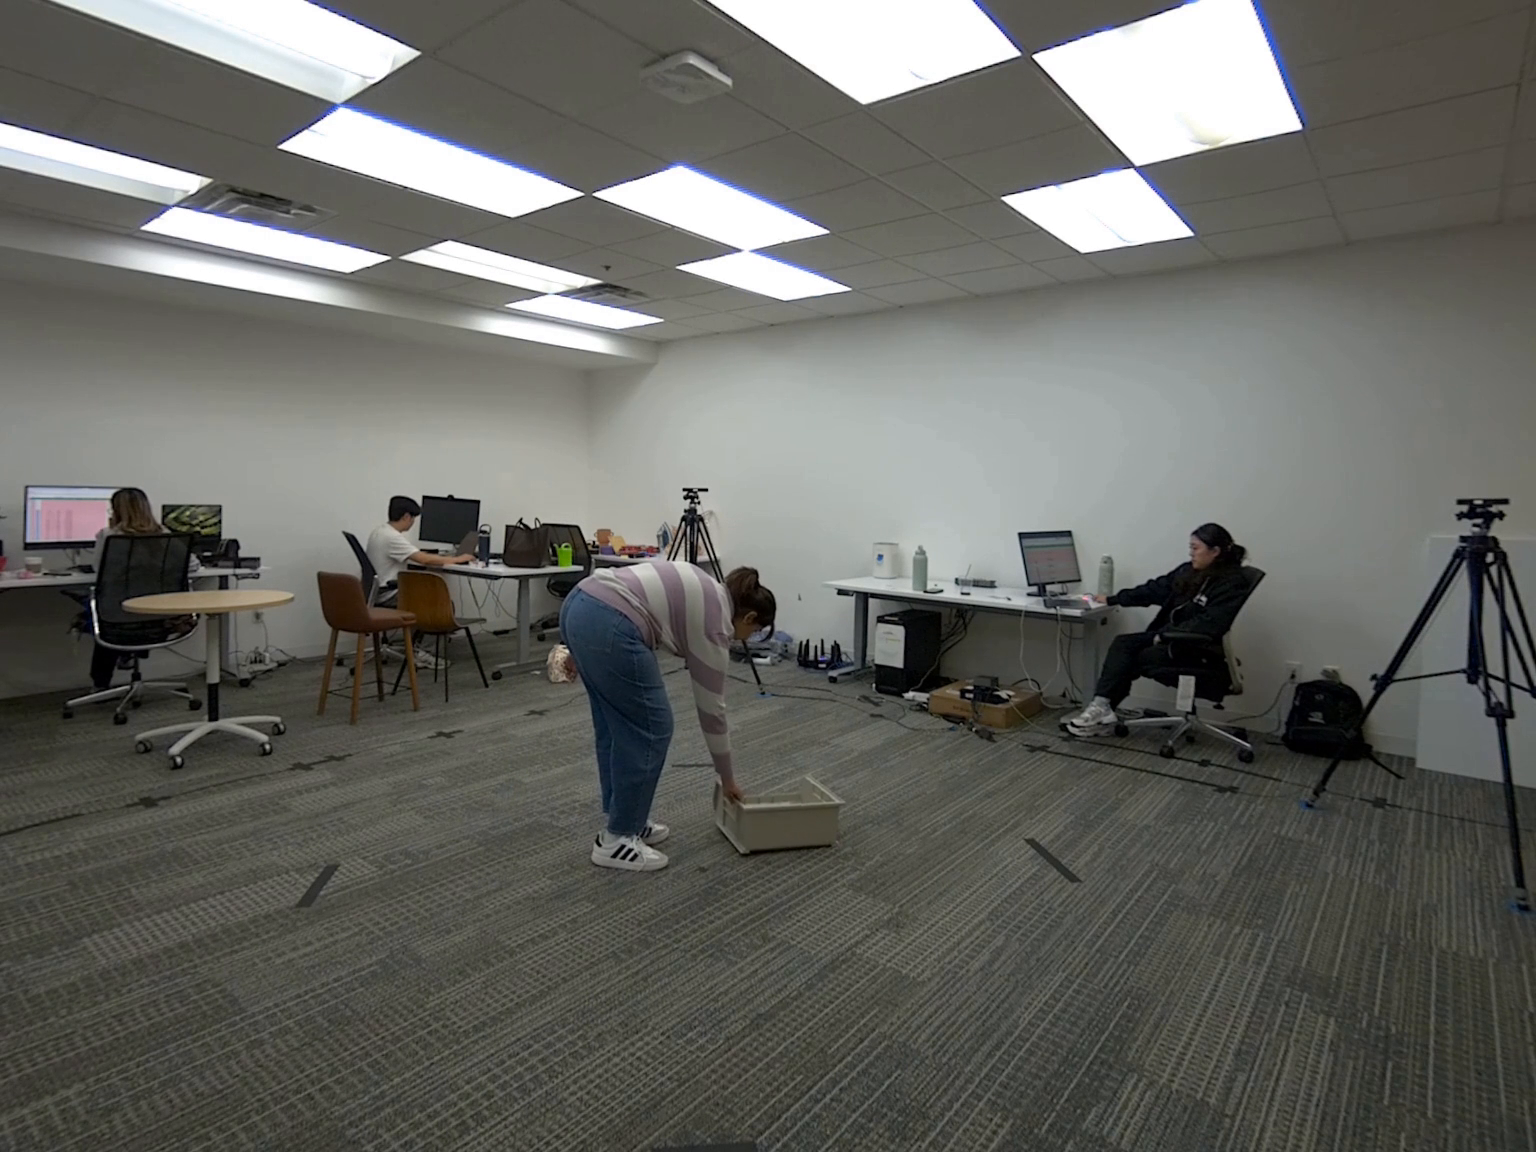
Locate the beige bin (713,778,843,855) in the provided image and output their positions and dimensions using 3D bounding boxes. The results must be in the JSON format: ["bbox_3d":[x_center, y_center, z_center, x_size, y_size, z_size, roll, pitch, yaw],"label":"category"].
[{"bbox_3d":[0.019,0.943,3.433,0.414,0.188,0.386,3,4,-20],"label":"beige bin"}]
